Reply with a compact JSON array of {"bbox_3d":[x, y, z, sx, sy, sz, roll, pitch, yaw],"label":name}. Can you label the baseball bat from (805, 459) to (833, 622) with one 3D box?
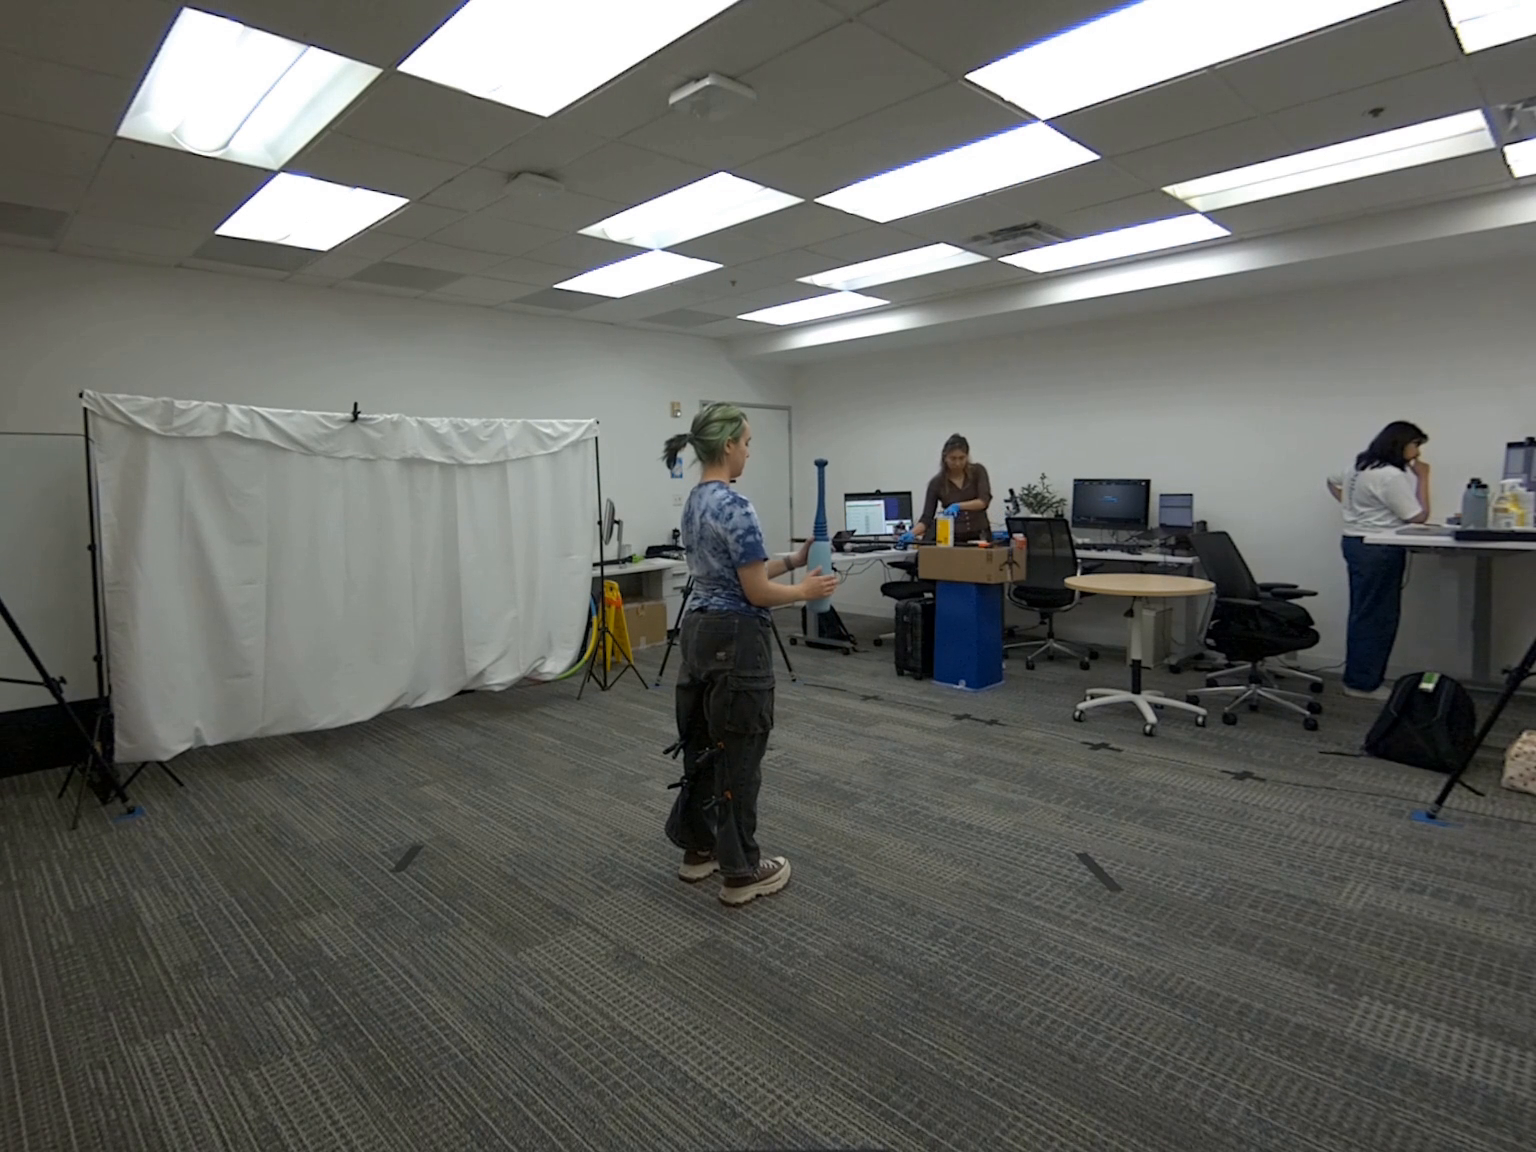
[{"bbox_3d":[0.182,-0.143,3.028,0.089,0.543,0.089,3,0,-2],"label":"baseball bat"}]
